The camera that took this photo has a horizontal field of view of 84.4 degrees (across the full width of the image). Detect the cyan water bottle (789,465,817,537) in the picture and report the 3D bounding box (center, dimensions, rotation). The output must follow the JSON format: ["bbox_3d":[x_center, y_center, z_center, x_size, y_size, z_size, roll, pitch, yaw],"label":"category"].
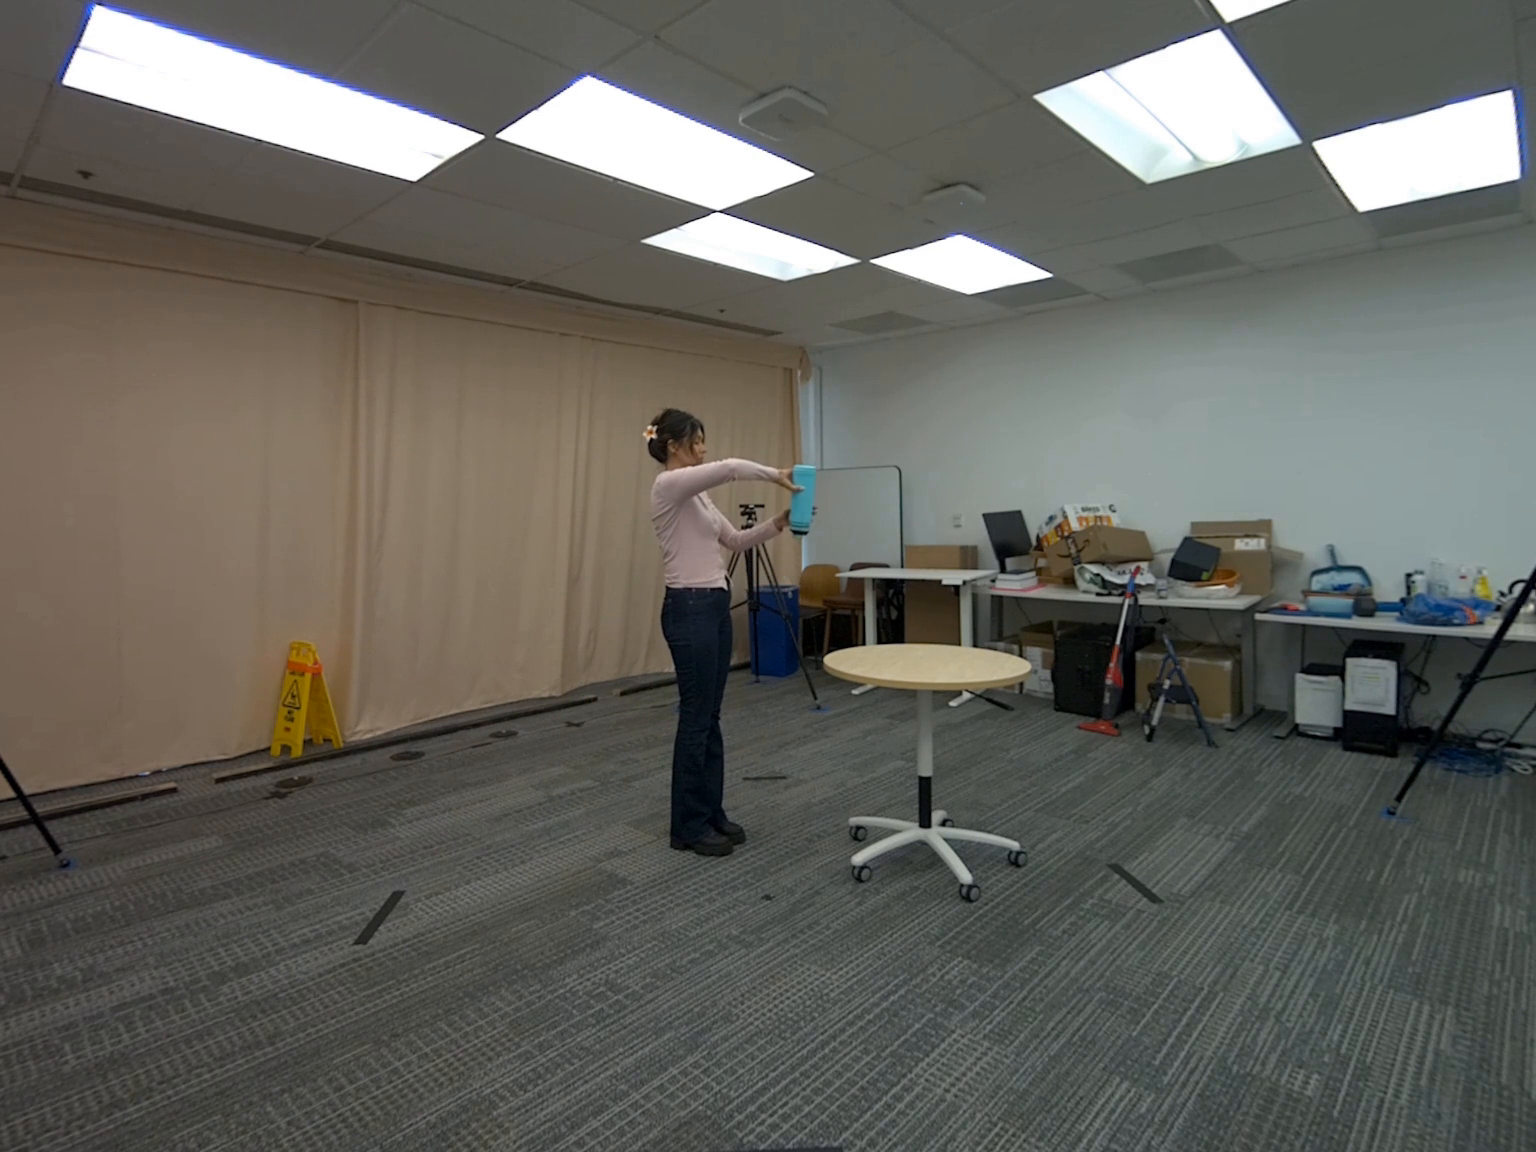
[{"bbox_3d":[0.143,-0.288,3.308,0.092,0.282,0.093,3,10,-2],"label":"cyan water bottle"}]
